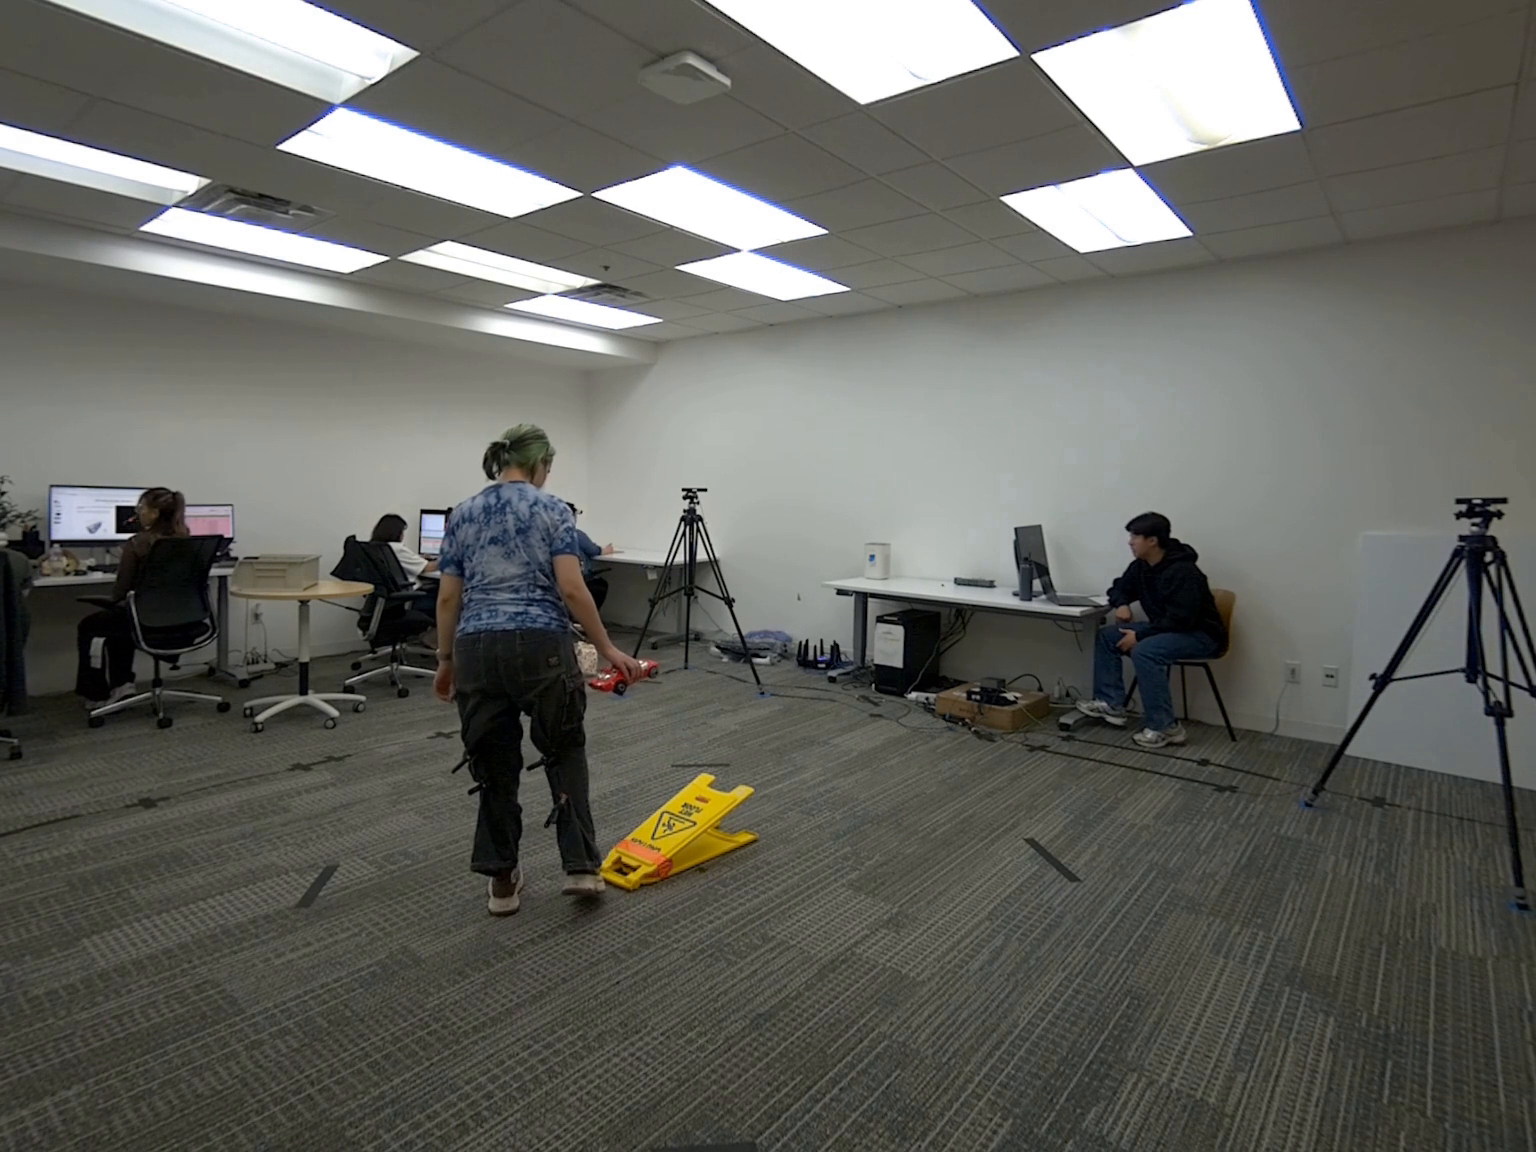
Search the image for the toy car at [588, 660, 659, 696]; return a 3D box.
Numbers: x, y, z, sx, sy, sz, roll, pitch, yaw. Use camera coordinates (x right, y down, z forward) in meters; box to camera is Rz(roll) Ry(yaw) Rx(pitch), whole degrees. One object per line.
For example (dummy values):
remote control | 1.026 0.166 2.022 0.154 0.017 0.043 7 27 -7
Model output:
toy car | -0.503 0.348 2.853 0.247 0.083 0.135 -7 8 -43
